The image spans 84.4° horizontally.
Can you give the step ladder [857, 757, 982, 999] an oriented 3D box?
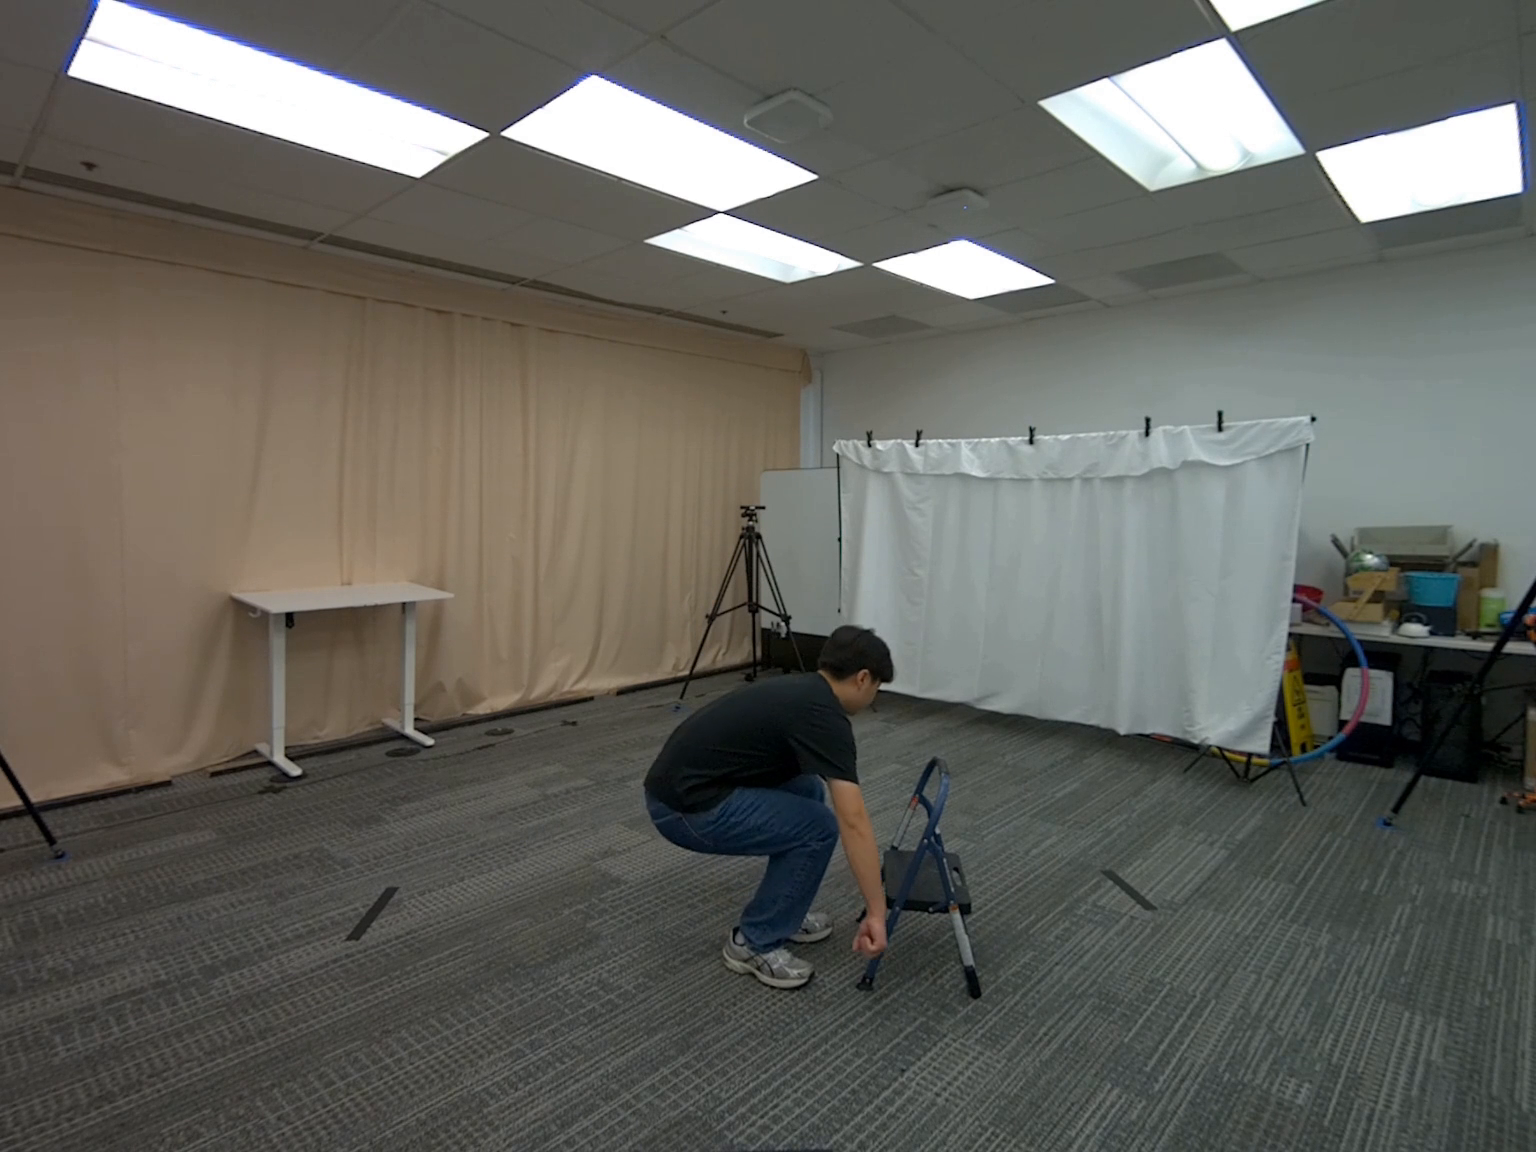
[{"bbox_3d":[0.462,0.876,2.580,0.353,0.605,0.427,0,4,8],"label":"step ladder"}]
